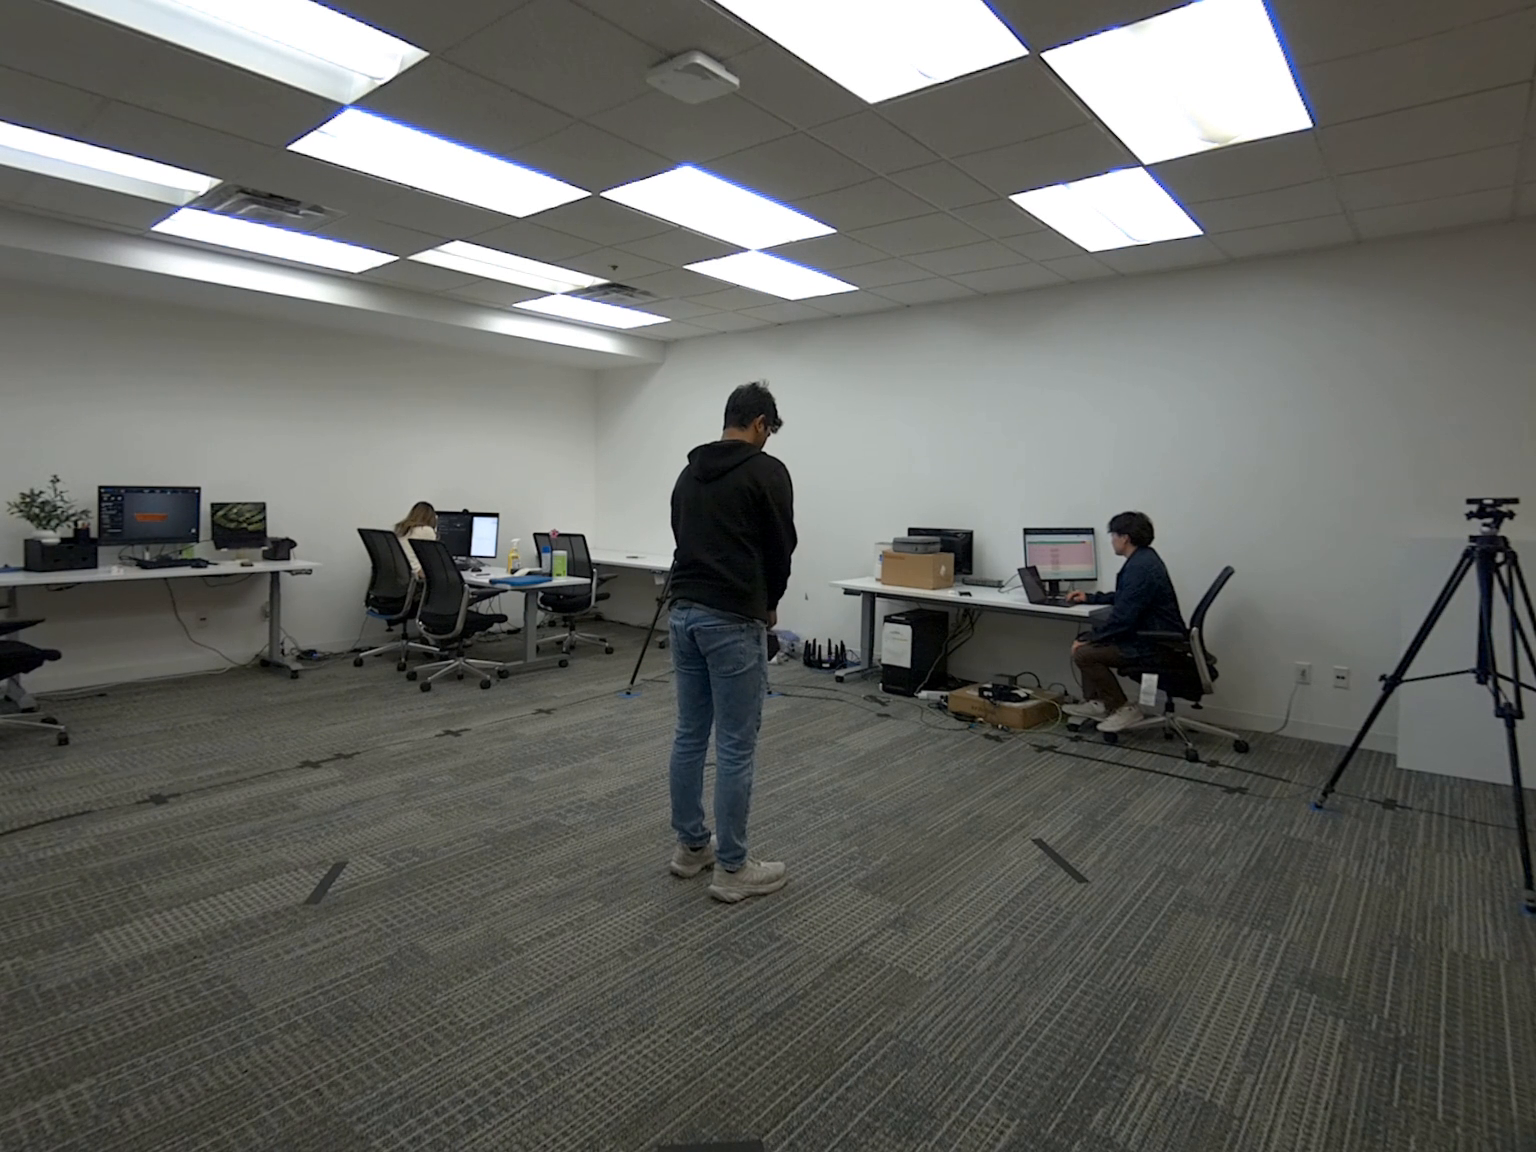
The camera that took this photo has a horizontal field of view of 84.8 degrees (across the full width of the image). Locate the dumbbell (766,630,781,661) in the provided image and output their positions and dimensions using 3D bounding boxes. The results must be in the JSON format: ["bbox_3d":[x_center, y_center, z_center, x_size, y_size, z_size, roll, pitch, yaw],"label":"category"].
[{"bbox_3d":[-0.067,0.226,3.148,0.121,0.109,0.298,13,-2,-16],"label":"dumbbell"}]
